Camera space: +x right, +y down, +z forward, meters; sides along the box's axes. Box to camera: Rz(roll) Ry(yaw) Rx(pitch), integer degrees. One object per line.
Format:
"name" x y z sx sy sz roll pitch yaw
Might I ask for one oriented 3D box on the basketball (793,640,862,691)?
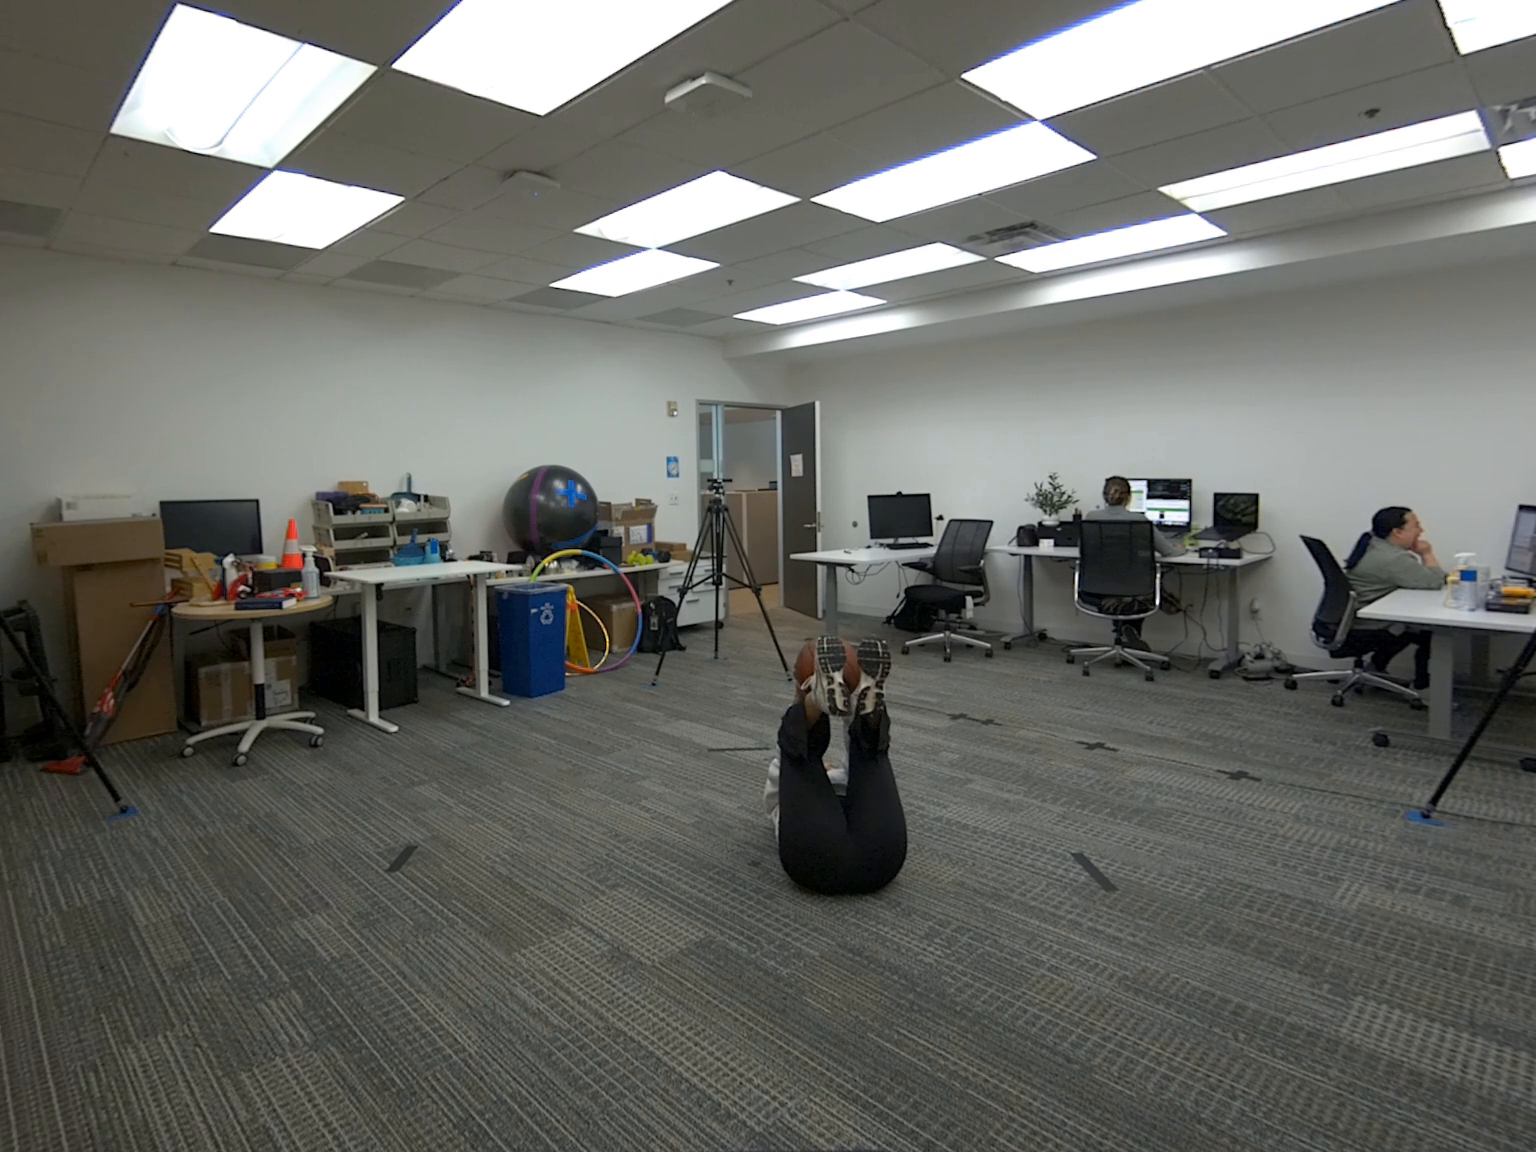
"basketball" 0.220 0.334 3.093 0.236 0.235 0.237 -1 5 -2
